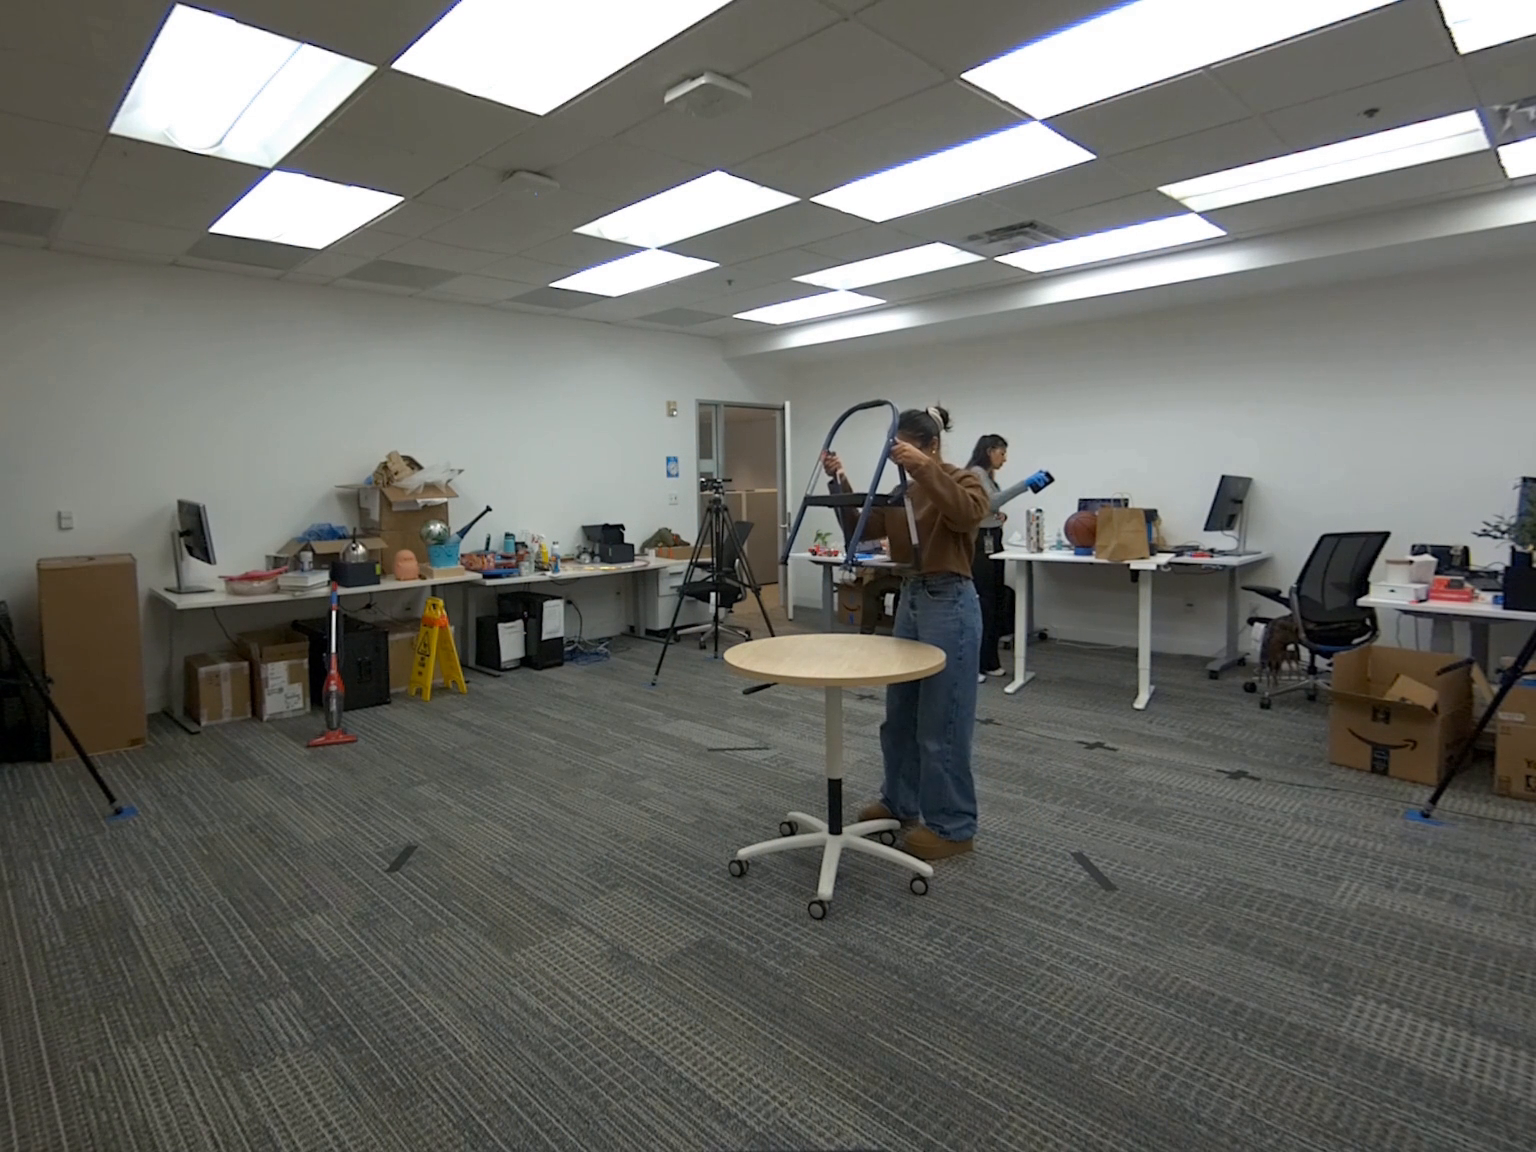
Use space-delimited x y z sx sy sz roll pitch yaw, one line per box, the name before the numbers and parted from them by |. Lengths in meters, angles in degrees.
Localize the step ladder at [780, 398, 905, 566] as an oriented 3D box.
step ladder | 0.306 -0.331 3.060 0.340 0.606 0.442 1 1 -30
